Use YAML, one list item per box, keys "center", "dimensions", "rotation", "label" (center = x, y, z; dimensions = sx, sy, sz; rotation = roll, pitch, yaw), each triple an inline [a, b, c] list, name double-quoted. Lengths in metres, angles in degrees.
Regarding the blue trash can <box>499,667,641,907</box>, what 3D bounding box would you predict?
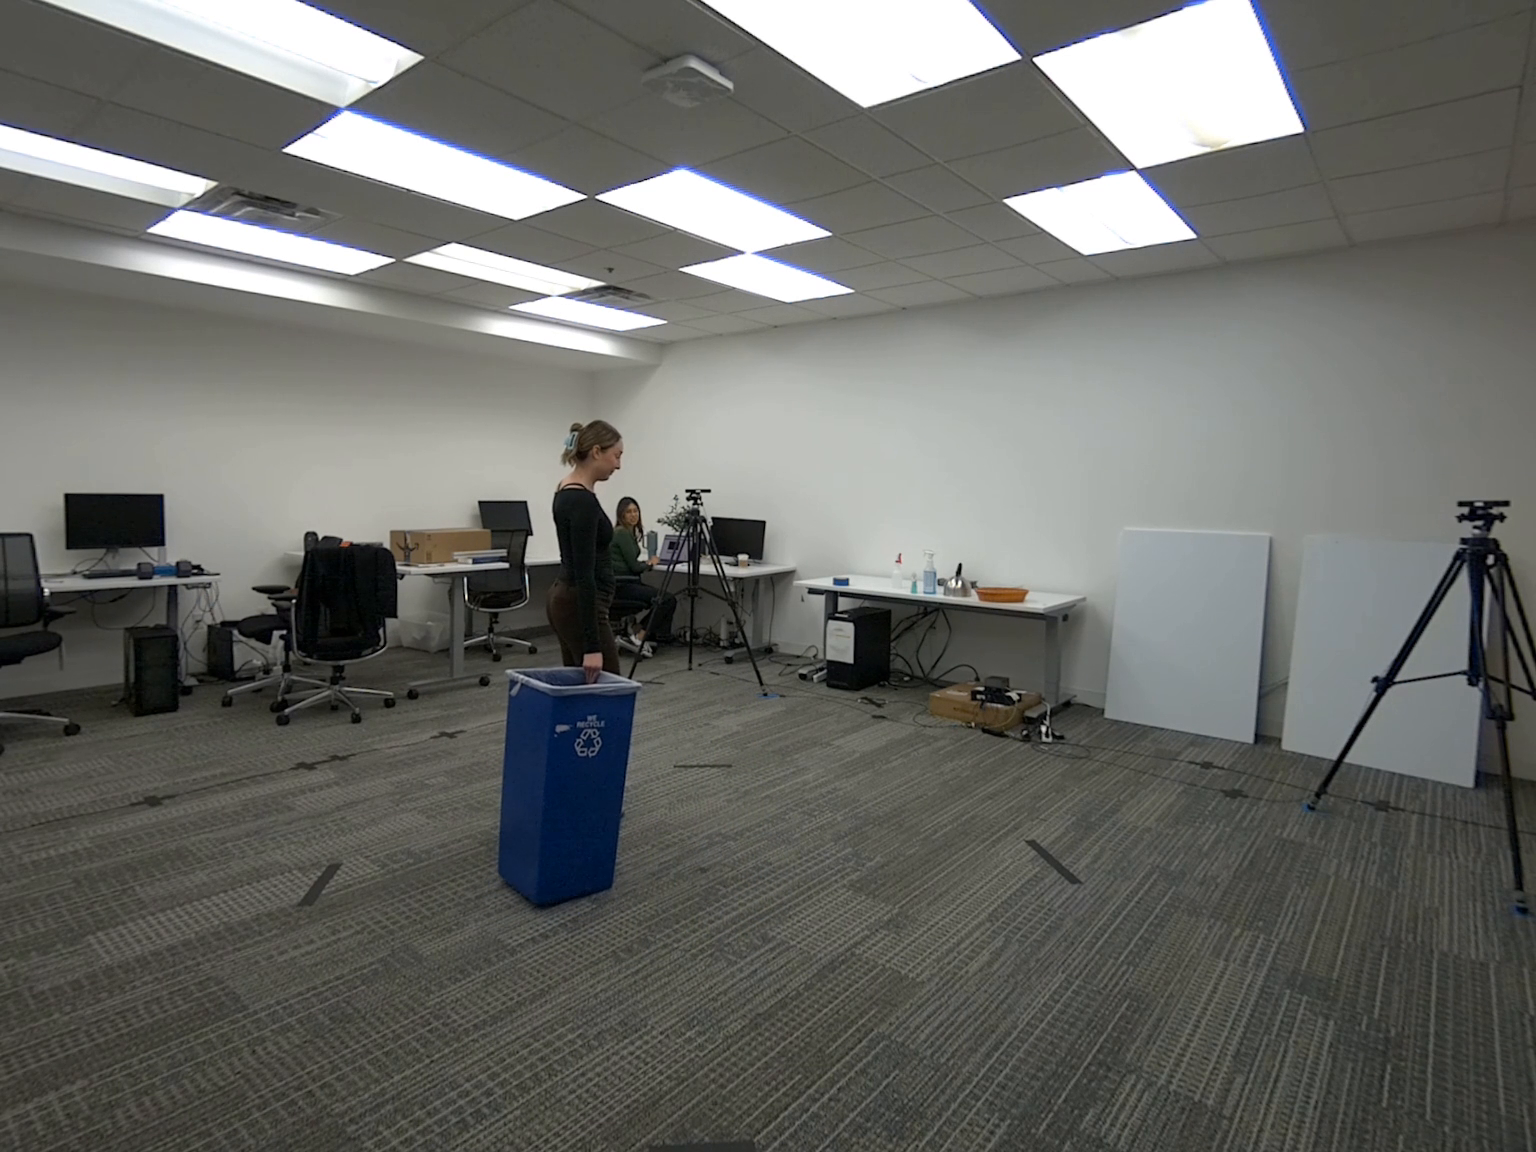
- center: [-0.723, 0.706, 2.991]
  dimensions: [0.361, 0.714, 0.391]
  rotation: [5, -1, -41]
  label: "blue trash can"
